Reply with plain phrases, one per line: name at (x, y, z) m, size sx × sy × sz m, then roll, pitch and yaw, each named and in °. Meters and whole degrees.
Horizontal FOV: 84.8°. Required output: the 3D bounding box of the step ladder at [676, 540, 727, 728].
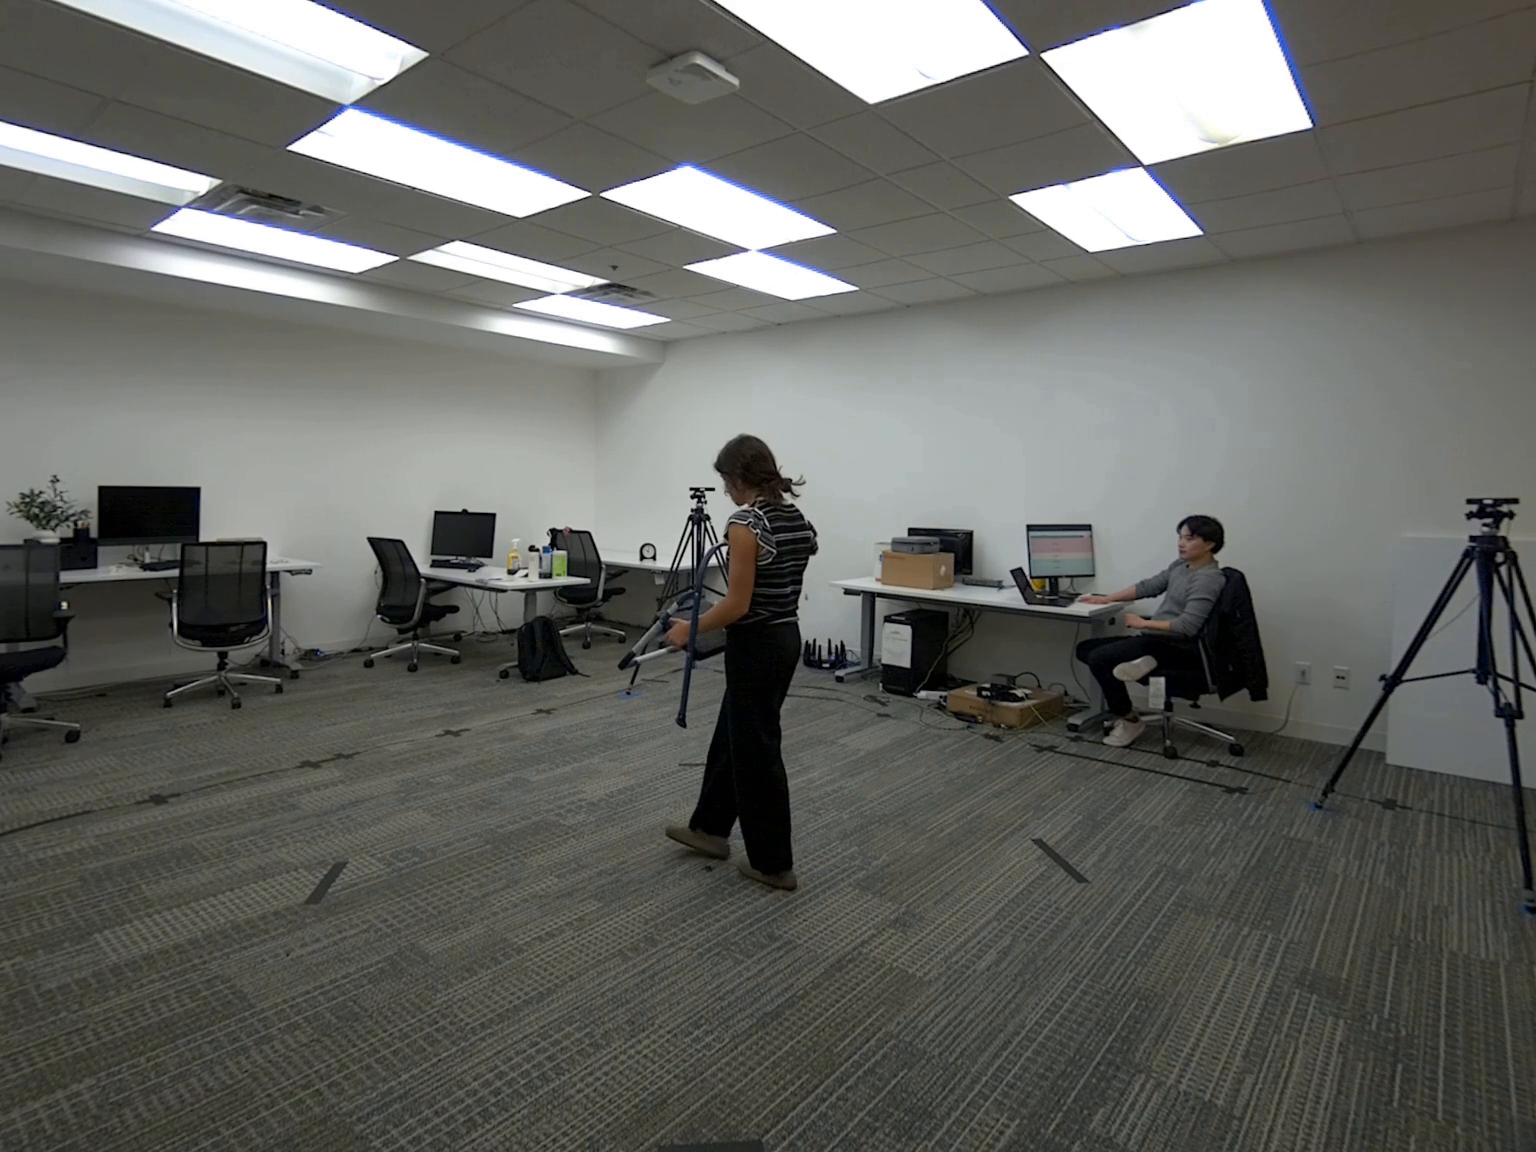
step ladder at (-0.218, 0.157, 3.138) m, size 0.360 × 0.602 × 0.420 m, roll 37°, pitch 22°, yaw 22°
